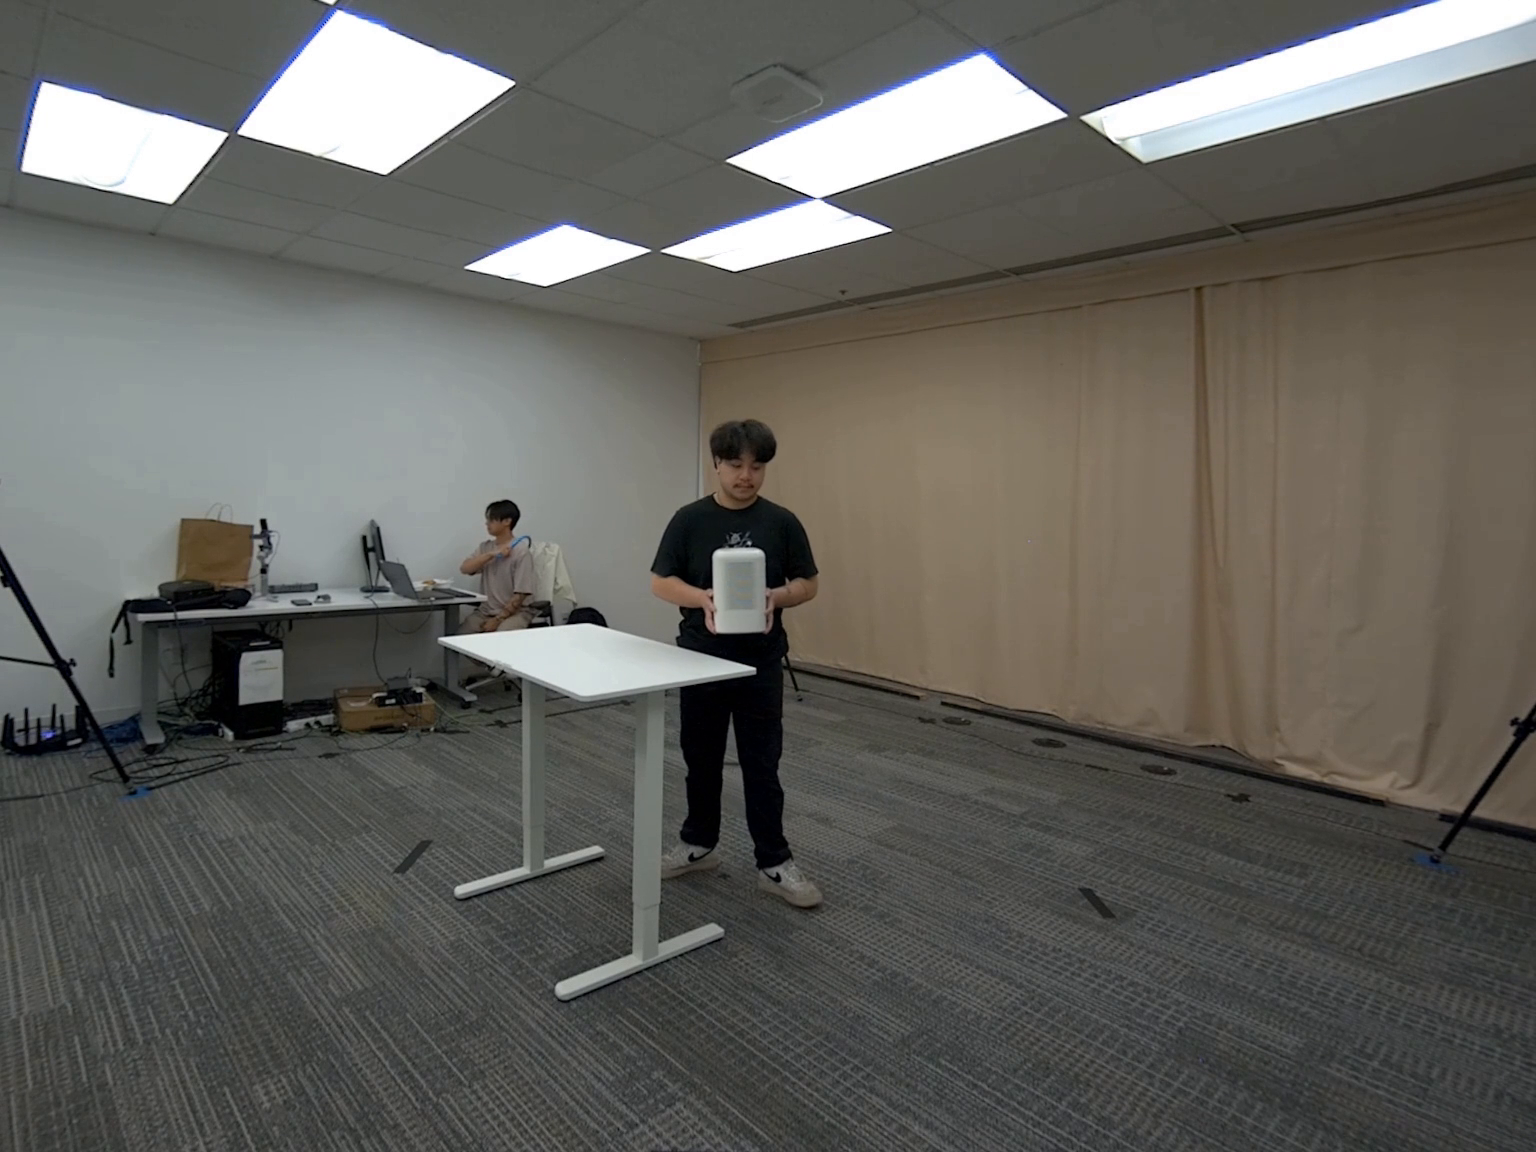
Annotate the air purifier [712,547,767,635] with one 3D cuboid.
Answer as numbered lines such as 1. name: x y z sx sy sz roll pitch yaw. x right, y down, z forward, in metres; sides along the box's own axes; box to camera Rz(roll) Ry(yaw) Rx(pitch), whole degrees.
1. air purifier: -0.101 0.044 2.750 0.171 0.264 0.172 1 4 -3
